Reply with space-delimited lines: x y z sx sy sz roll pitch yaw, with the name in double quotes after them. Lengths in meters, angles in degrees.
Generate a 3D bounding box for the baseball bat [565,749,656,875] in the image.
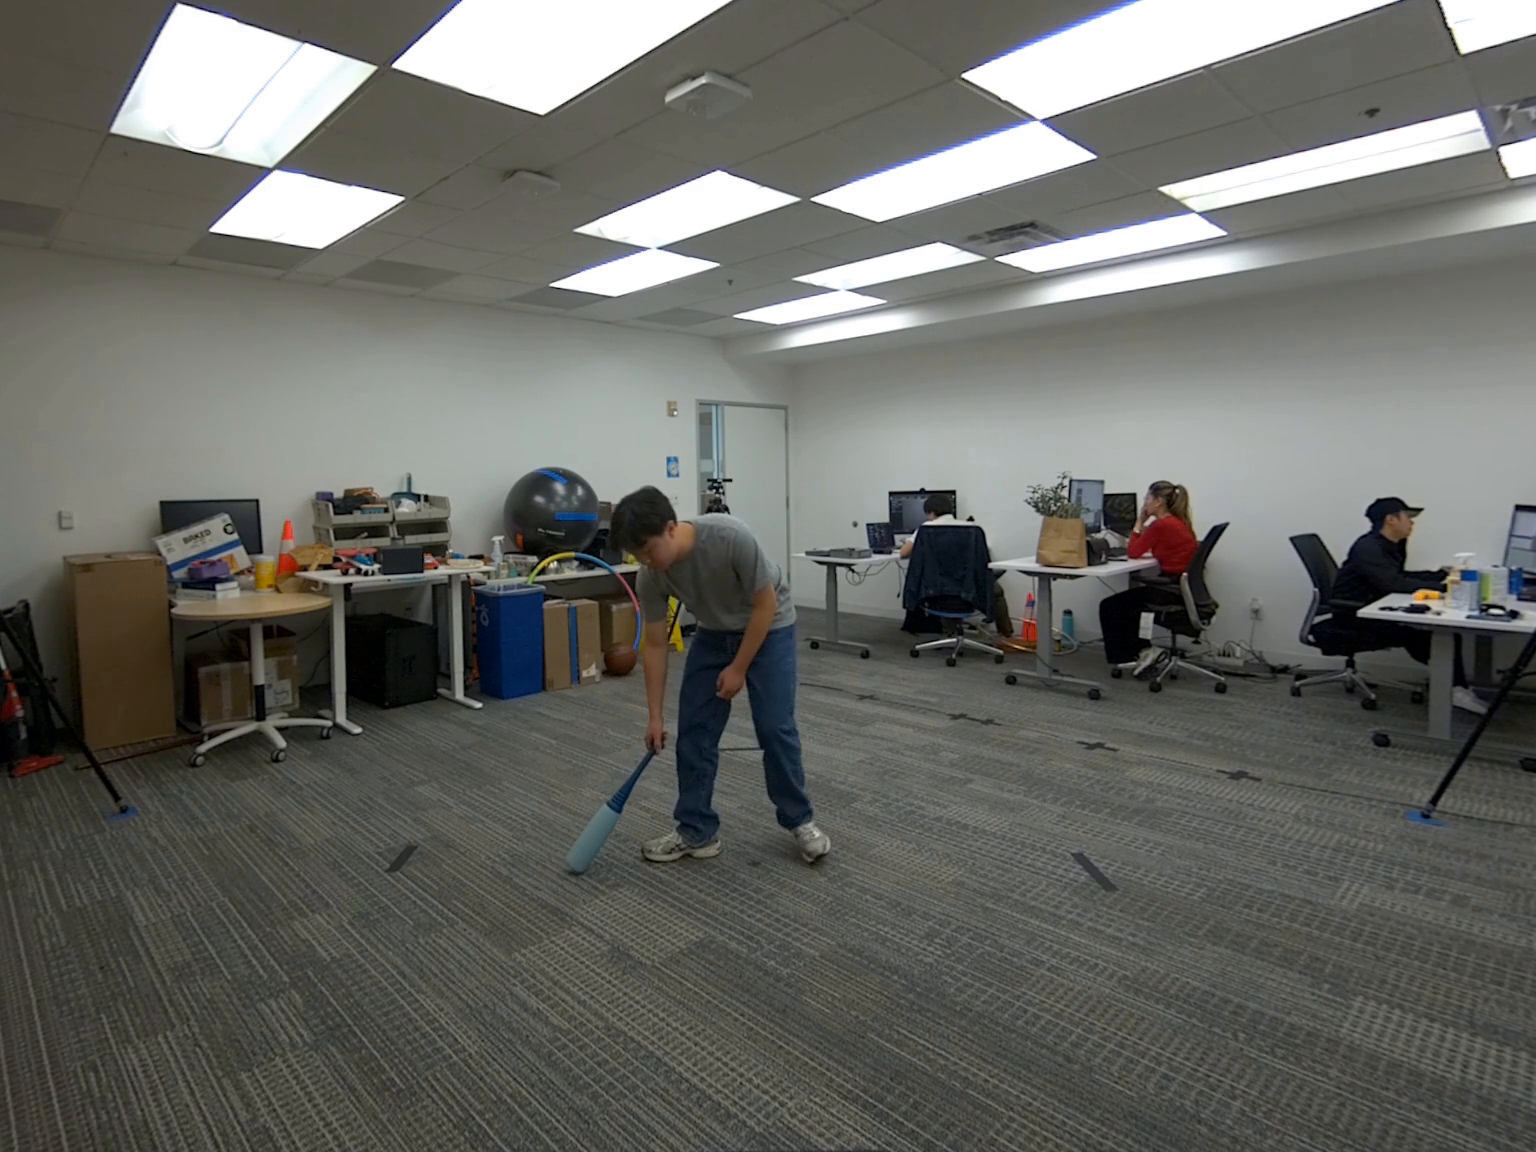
-0.541 0.826 3.074 0.089 0.543 0.089 34 -5 1 "baseball bat"
